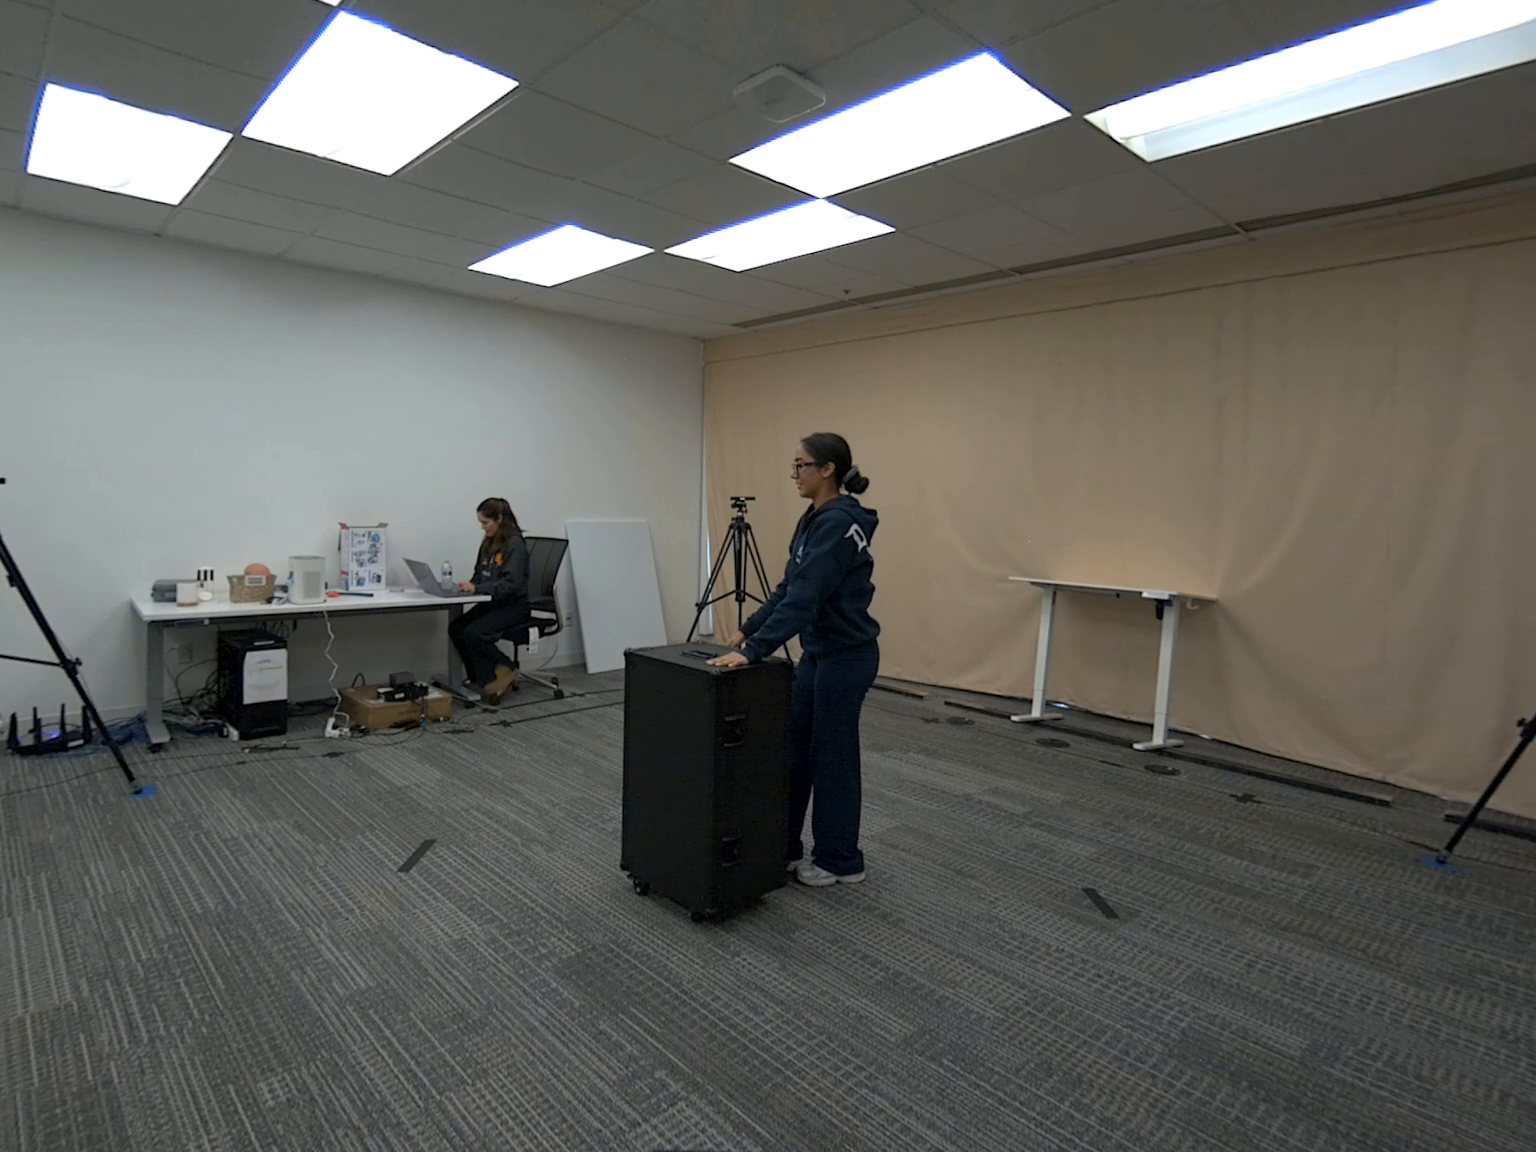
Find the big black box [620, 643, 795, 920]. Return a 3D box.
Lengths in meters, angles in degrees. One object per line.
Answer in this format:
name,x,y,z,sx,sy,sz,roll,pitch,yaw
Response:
big black box,-0.224,0.698,2.920,0.534,0.860,0.387,4,3,45
